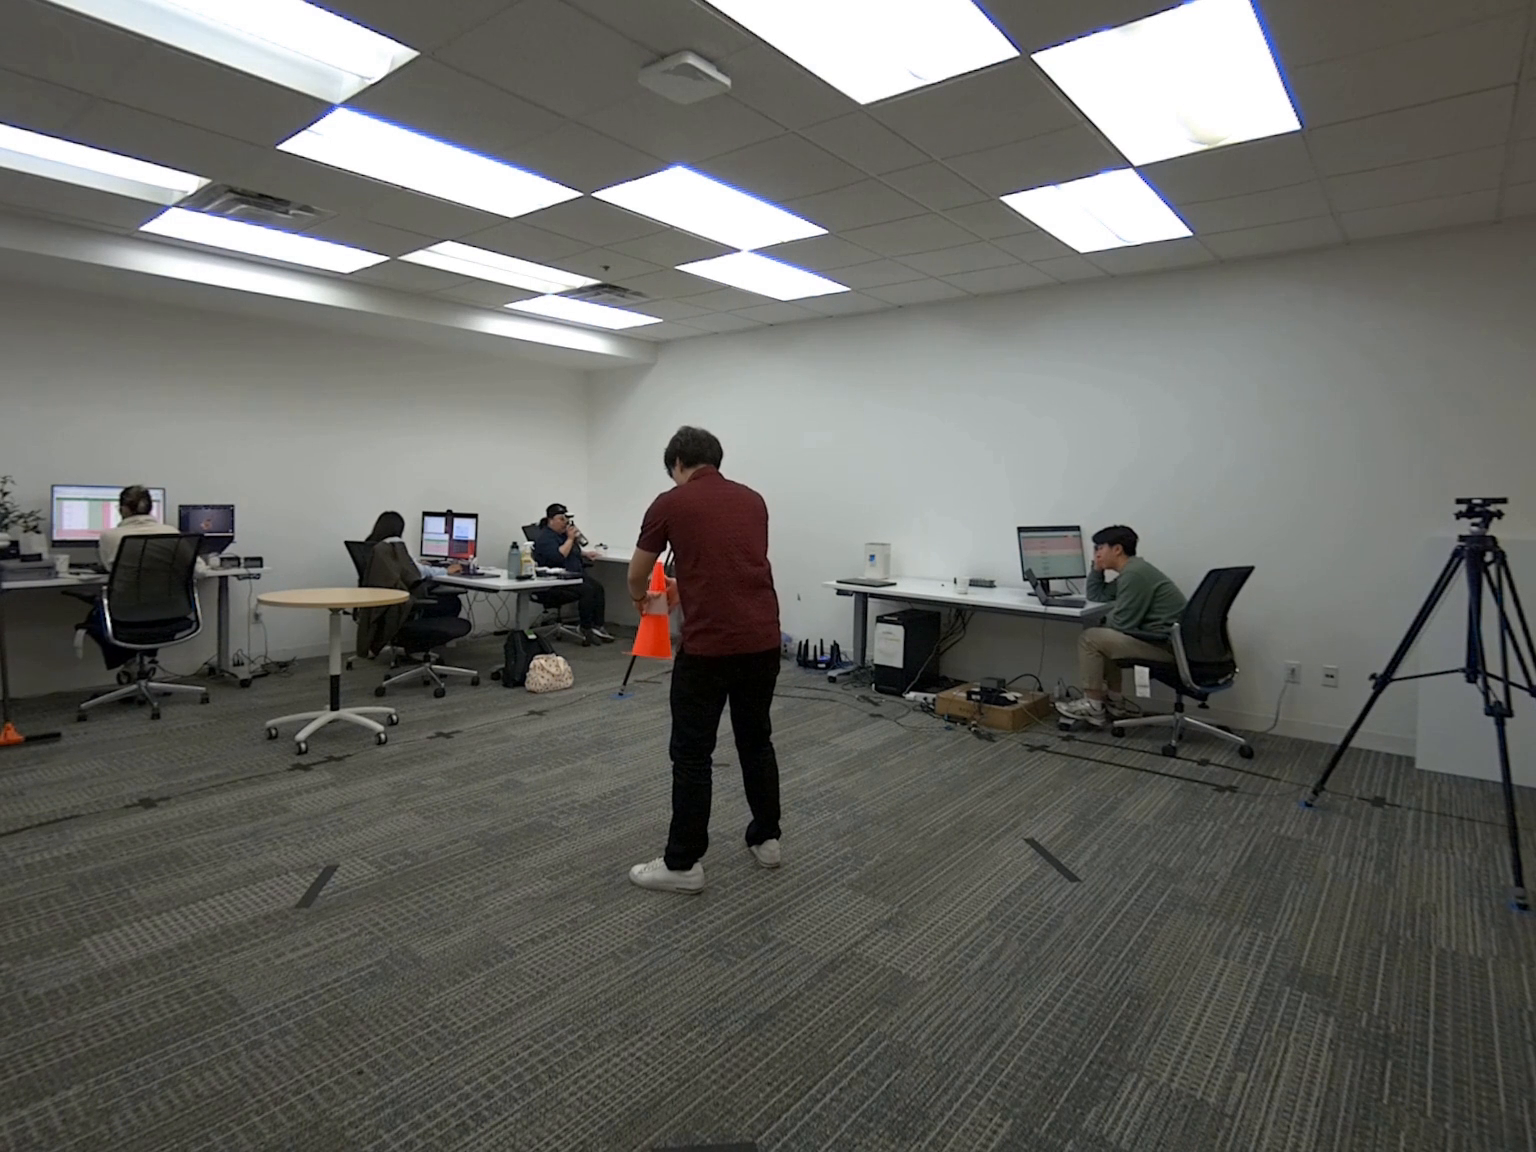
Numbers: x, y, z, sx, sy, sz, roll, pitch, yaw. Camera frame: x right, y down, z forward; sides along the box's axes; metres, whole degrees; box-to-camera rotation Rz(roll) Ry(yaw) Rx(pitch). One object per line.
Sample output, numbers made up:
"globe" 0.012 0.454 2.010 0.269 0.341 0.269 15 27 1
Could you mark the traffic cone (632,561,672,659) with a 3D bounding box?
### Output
"traffic cone" -0.469 0.132 3.461 0.206 0.385 0.202 5 -2 9
